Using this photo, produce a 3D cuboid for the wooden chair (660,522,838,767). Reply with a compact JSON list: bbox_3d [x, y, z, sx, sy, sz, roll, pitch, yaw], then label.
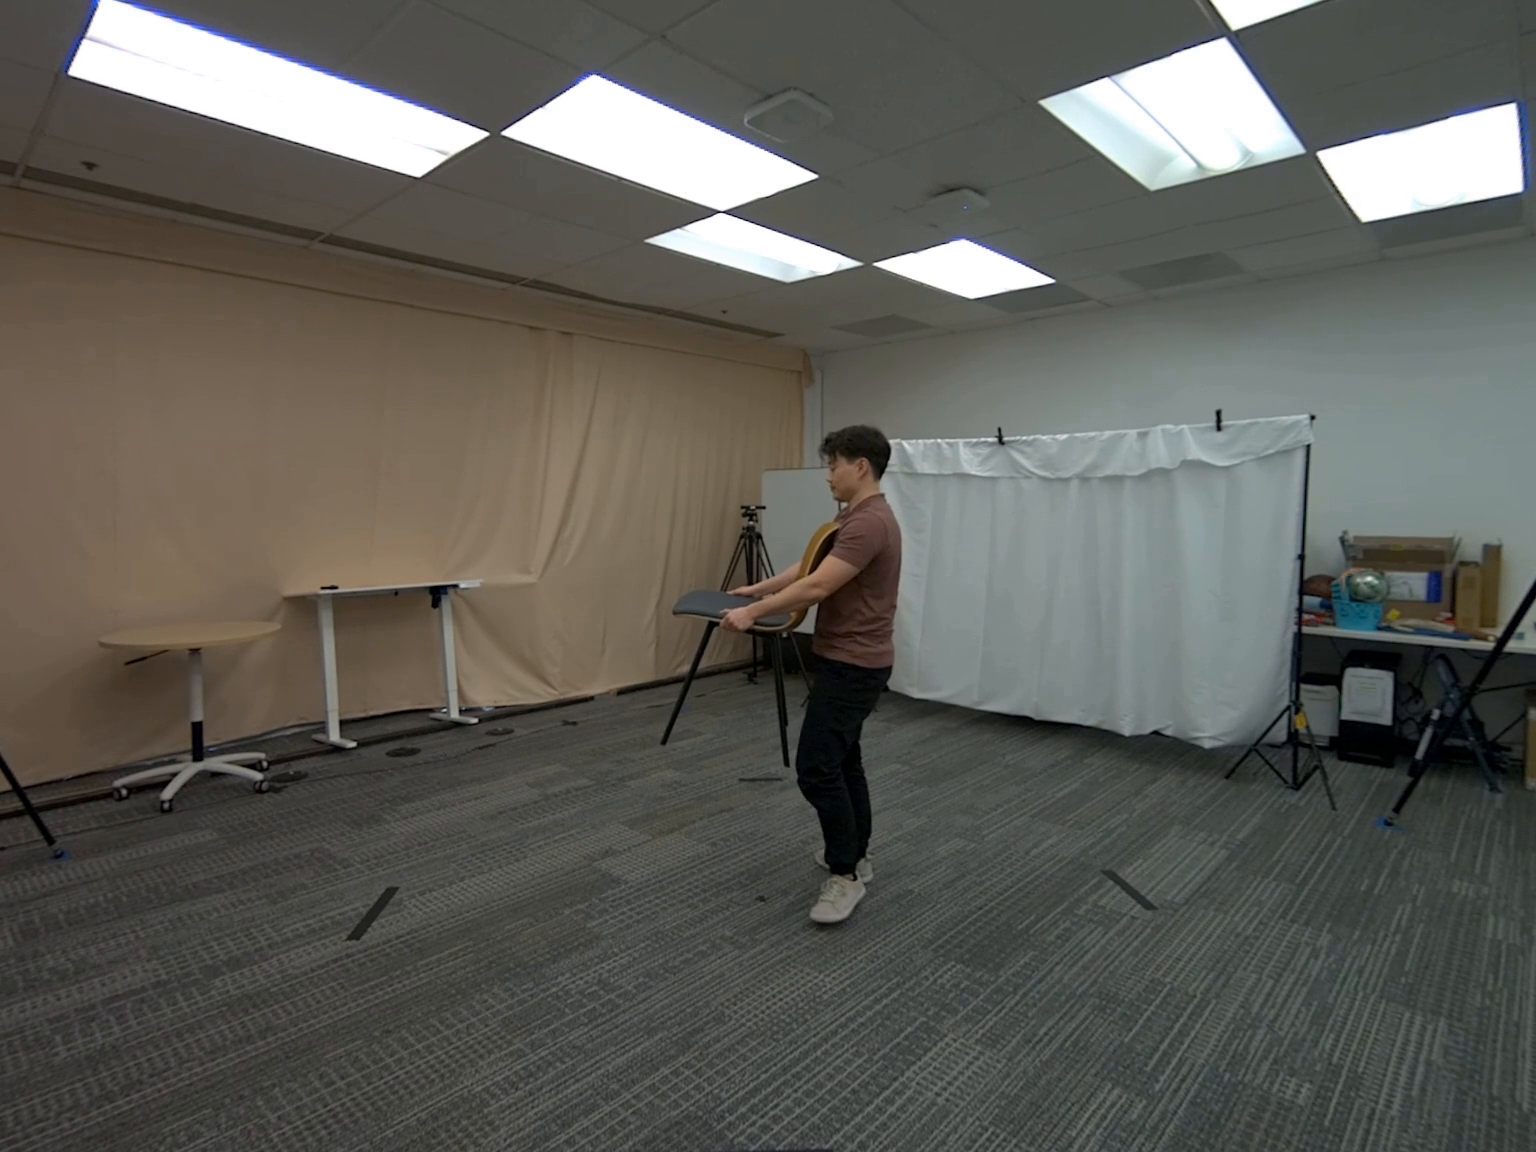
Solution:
[{"bbox_3d":[-0.091,0.187,3.072,0.524,0.874,0.479,13,8,1],"label":"wooden chair"}]
